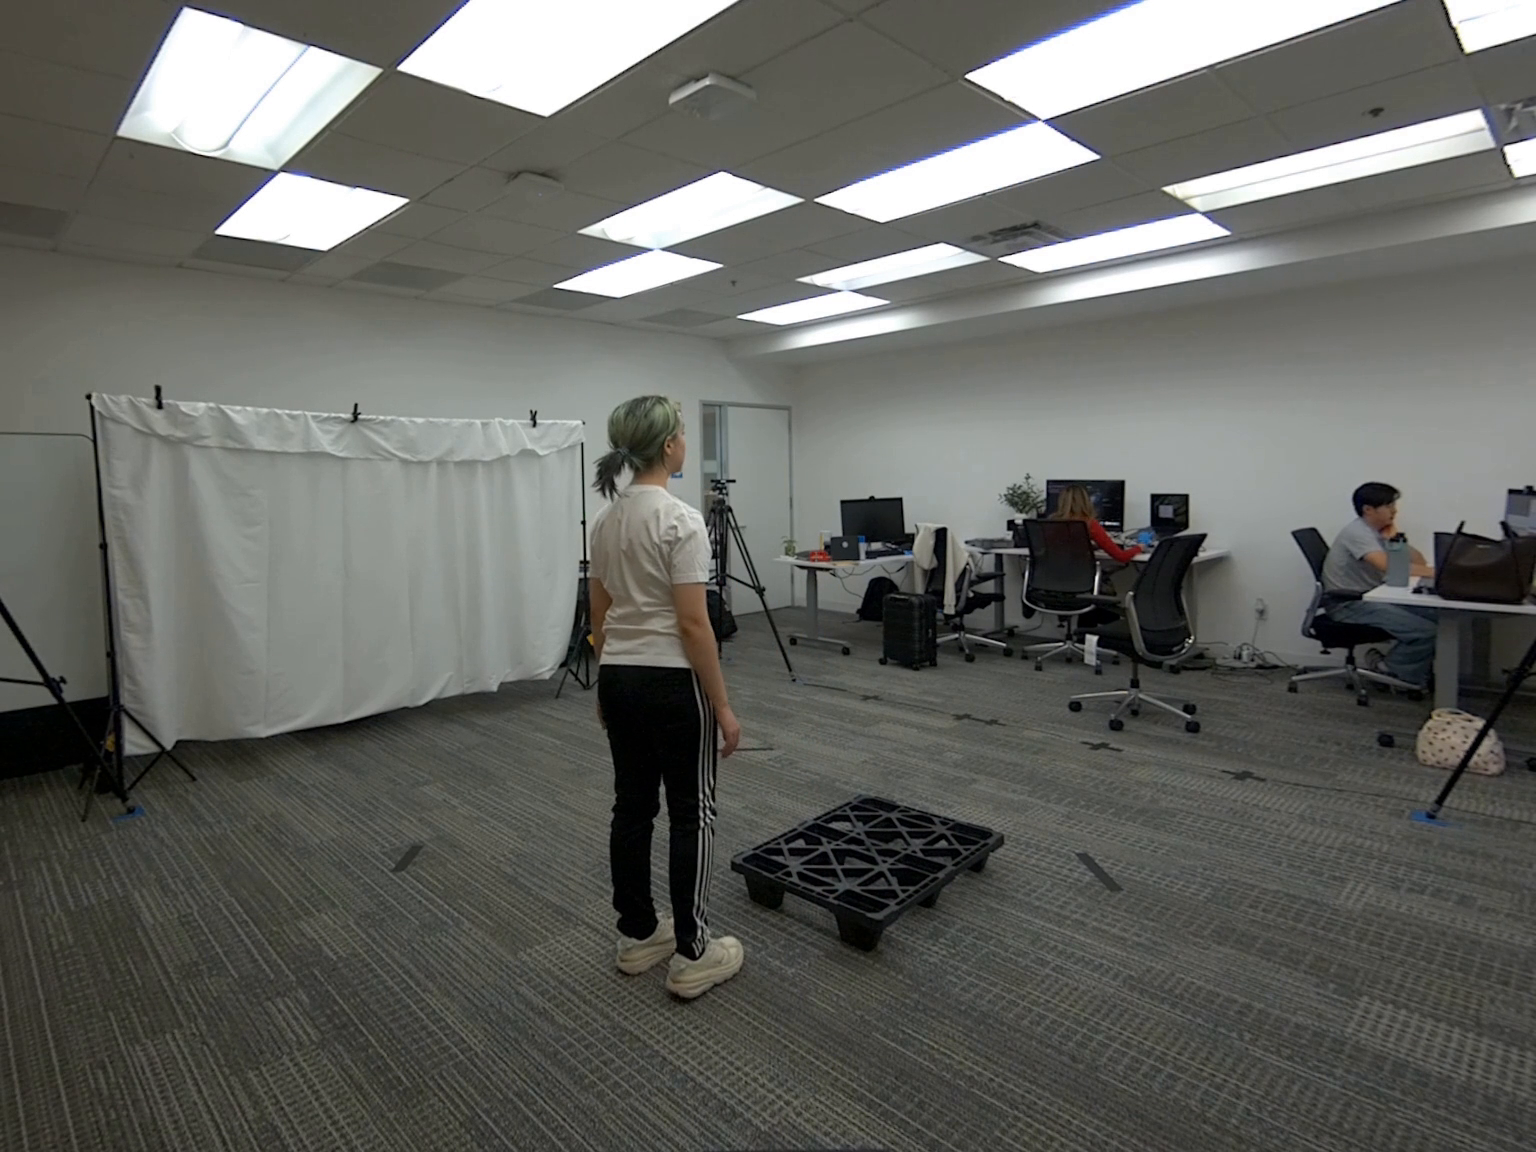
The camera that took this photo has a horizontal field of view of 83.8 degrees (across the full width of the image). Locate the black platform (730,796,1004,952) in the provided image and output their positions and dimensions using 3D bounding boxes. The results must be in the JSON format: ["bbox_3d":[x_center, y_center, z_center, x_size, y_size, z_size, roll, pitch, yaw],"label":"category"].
[{"bbox_3d":[0.352,0.993,2.932,0.623,0.143,0.785,4,8,42],"label":"black platform"}]
